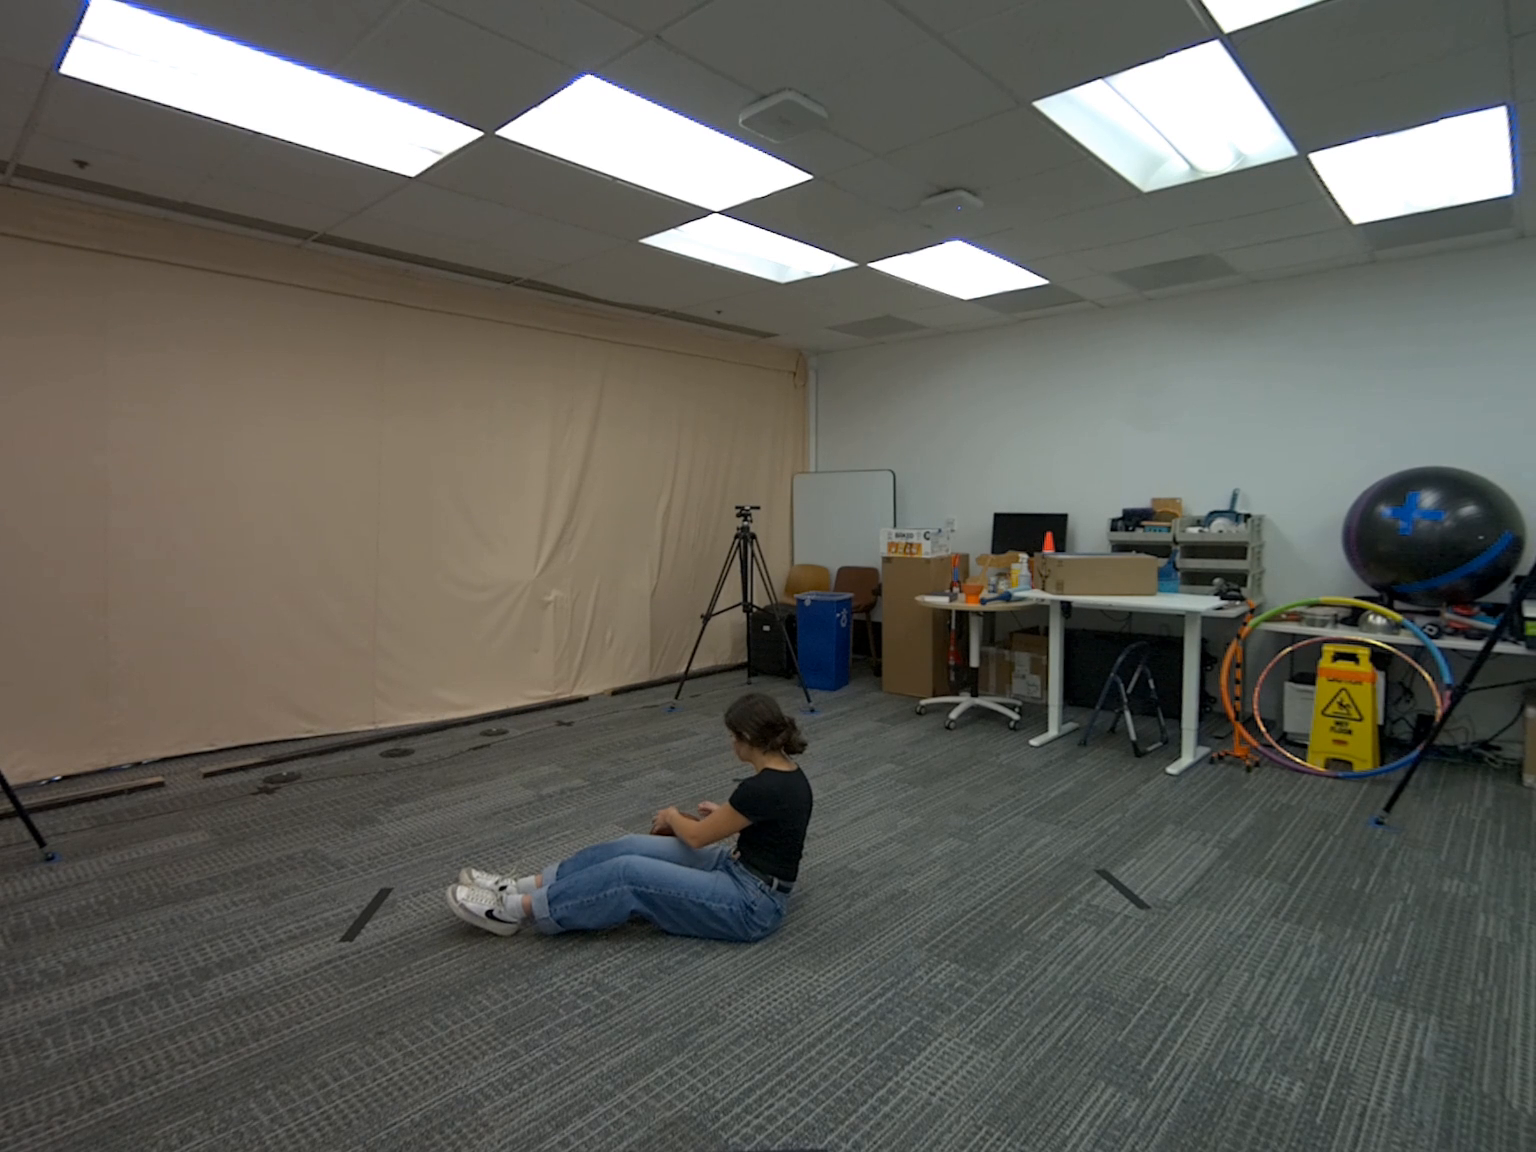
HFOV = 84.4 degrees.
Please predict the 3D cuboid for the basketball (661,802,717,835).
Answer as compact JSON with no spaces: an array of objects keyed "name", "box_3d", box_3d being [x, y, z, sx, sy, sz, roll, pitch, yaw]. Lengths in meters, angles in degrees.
[{"name":"basketball","box_3d":[-0.341,1.009,3.161,0.236,0.235,0.237,0,4,-2]}]
